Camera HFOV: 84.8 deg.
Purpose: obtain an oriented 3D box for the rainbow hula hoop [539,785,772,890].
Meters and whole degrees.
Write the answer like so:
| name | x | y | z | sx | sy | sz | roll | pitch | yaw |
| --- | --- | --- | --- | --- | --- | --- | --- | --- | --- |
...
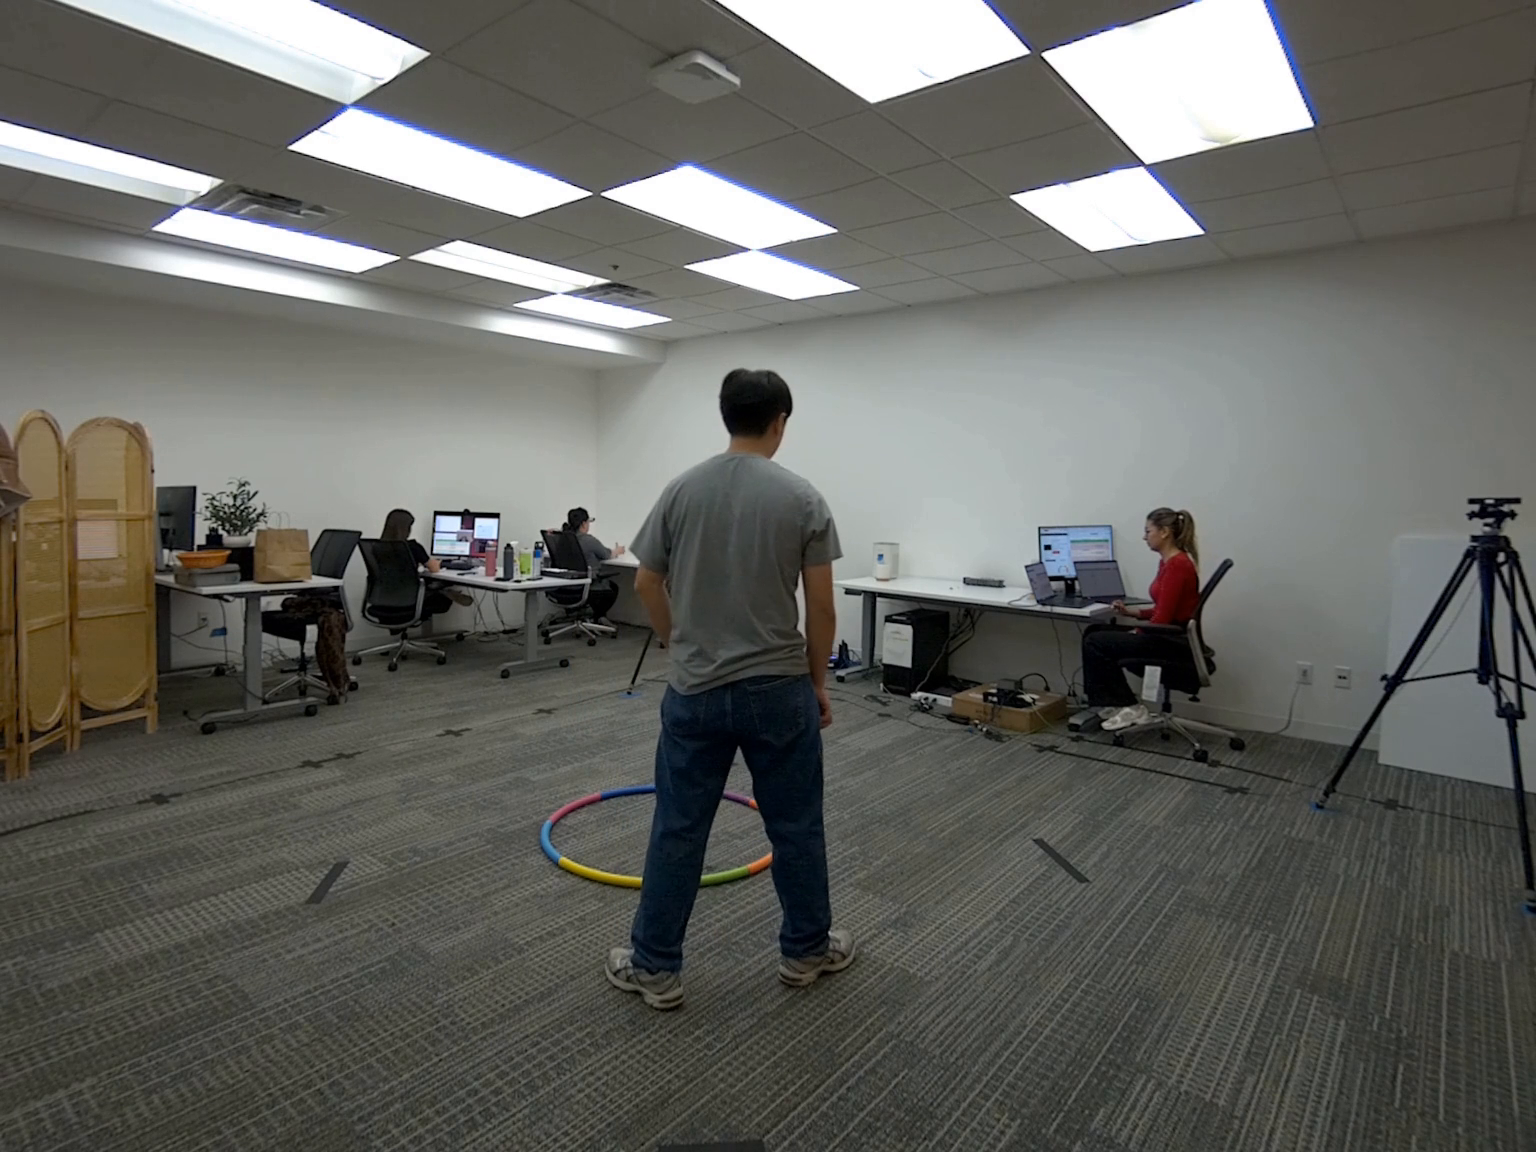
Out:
| name | x | y | z | sx | sy | sz | roll | pitch | yaw |
| --- | --- | --- | --- | --- | --- | --- | --- | --- | --- |
| rainbow hula hoop | -0.423 | 1.004 | 3.406 | 0.978 | 0.035 | 0.984 | 1 | 6 | -2 |
